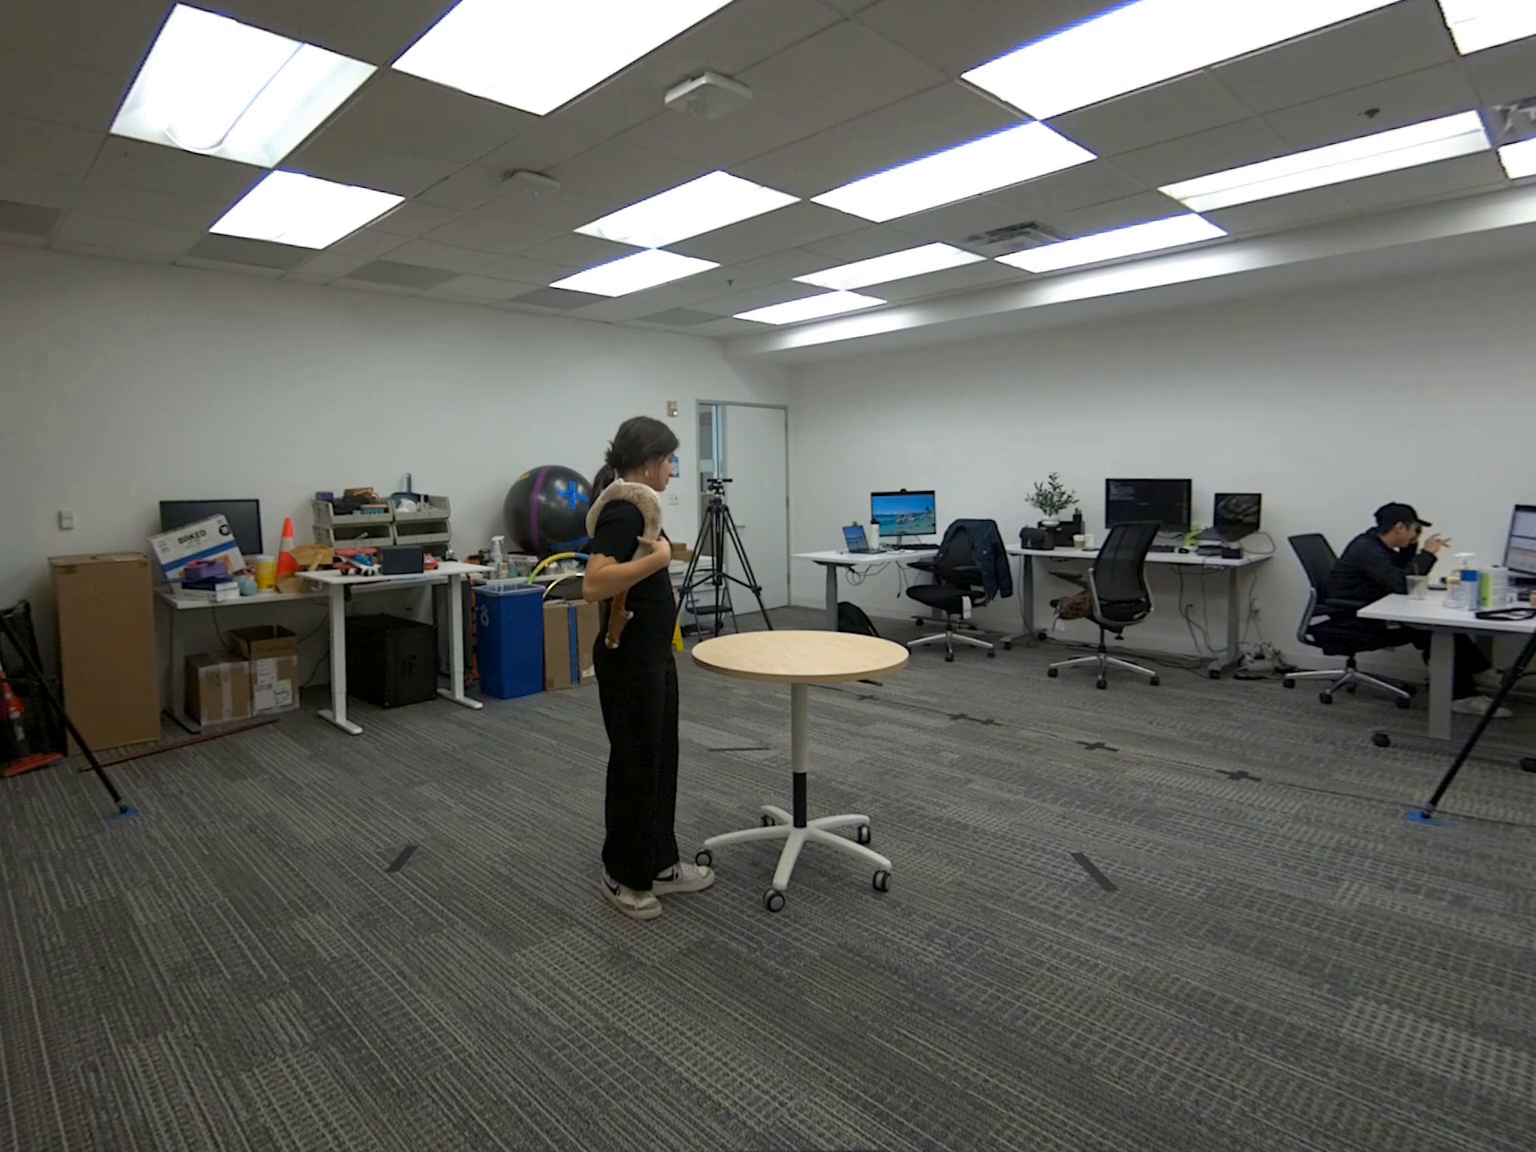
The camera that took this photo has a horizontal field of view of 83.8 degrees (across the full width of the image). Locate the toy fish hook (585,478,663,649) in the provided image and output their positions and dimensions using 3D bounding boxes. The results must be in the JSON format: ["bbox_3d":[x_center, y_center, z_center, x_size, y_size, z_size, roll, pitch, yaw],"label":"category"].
[{"bbox_3d":[-0.480,-0.037,2.596,0.225,0.507,0.048,15,-1,3],"label":"toy fish hook"}]
